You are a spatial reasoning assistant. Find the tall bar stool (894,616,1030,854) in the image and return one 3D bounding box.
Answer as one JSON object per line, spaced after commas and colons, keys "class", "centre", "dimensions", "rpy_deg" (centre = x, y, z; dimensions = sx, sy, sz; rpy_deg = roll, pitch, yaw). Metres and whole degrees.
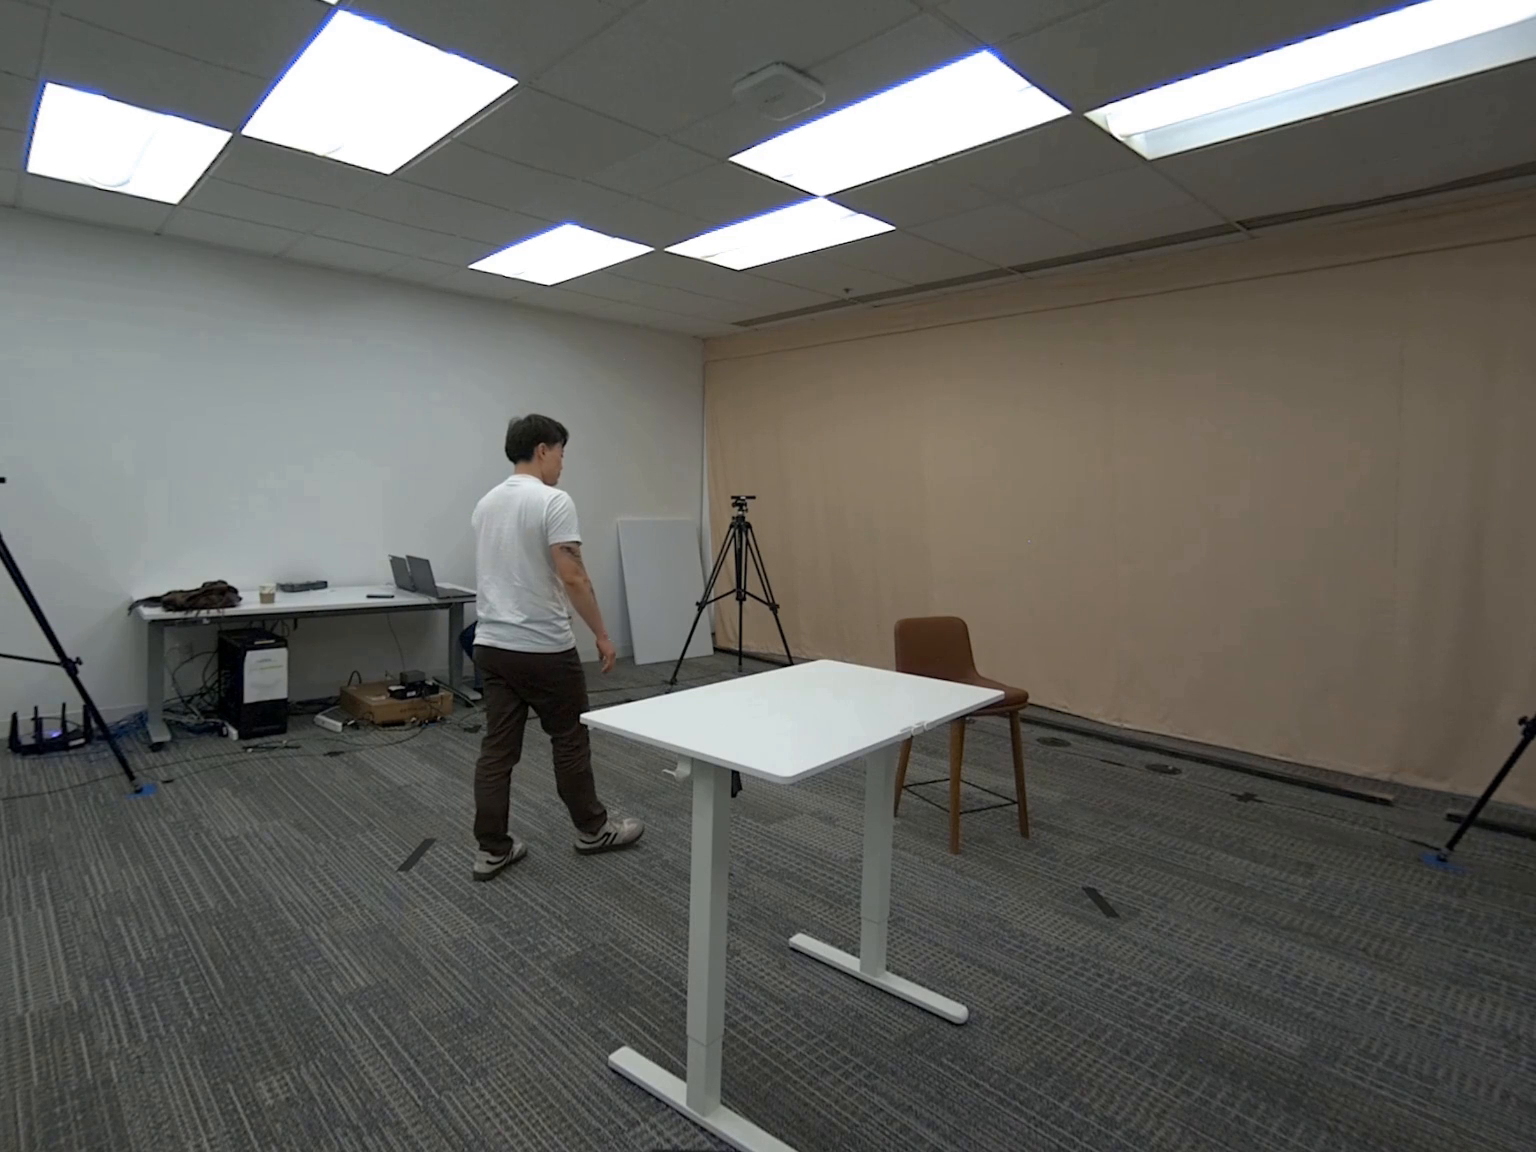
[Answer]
{"class": "tall bar stool", "centre": [0.807, 0.643, 3.612], "dimensions": [0.448, 0.889, 0.477], "rpy_deg": [-1, 2, -27]}
